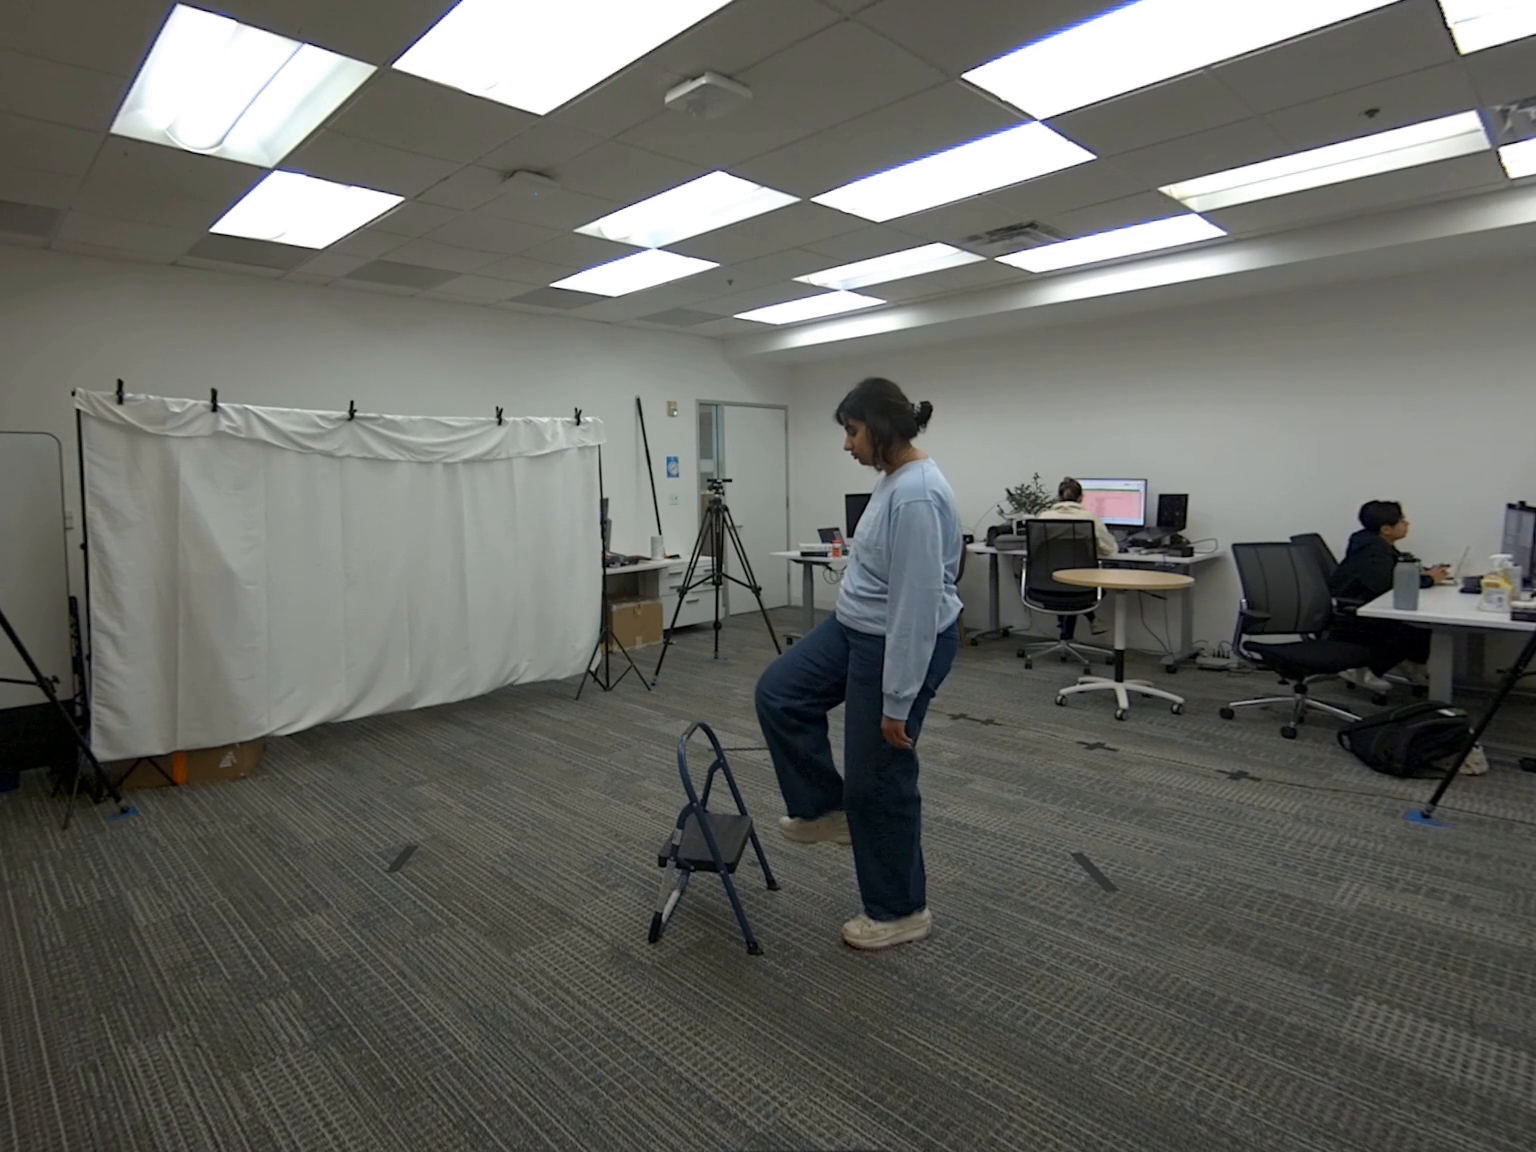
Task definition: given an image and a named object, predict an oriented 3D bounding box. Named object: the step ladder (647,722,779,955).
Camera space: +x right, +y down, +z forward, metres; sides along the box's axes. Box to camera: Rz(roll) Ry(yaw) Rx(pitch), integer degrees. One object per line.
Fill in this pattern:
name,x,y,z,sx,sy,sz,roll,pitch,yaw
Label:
step ladder,-0.165,0.789,2.731,0.353,0.604,0.428,0,5,10
